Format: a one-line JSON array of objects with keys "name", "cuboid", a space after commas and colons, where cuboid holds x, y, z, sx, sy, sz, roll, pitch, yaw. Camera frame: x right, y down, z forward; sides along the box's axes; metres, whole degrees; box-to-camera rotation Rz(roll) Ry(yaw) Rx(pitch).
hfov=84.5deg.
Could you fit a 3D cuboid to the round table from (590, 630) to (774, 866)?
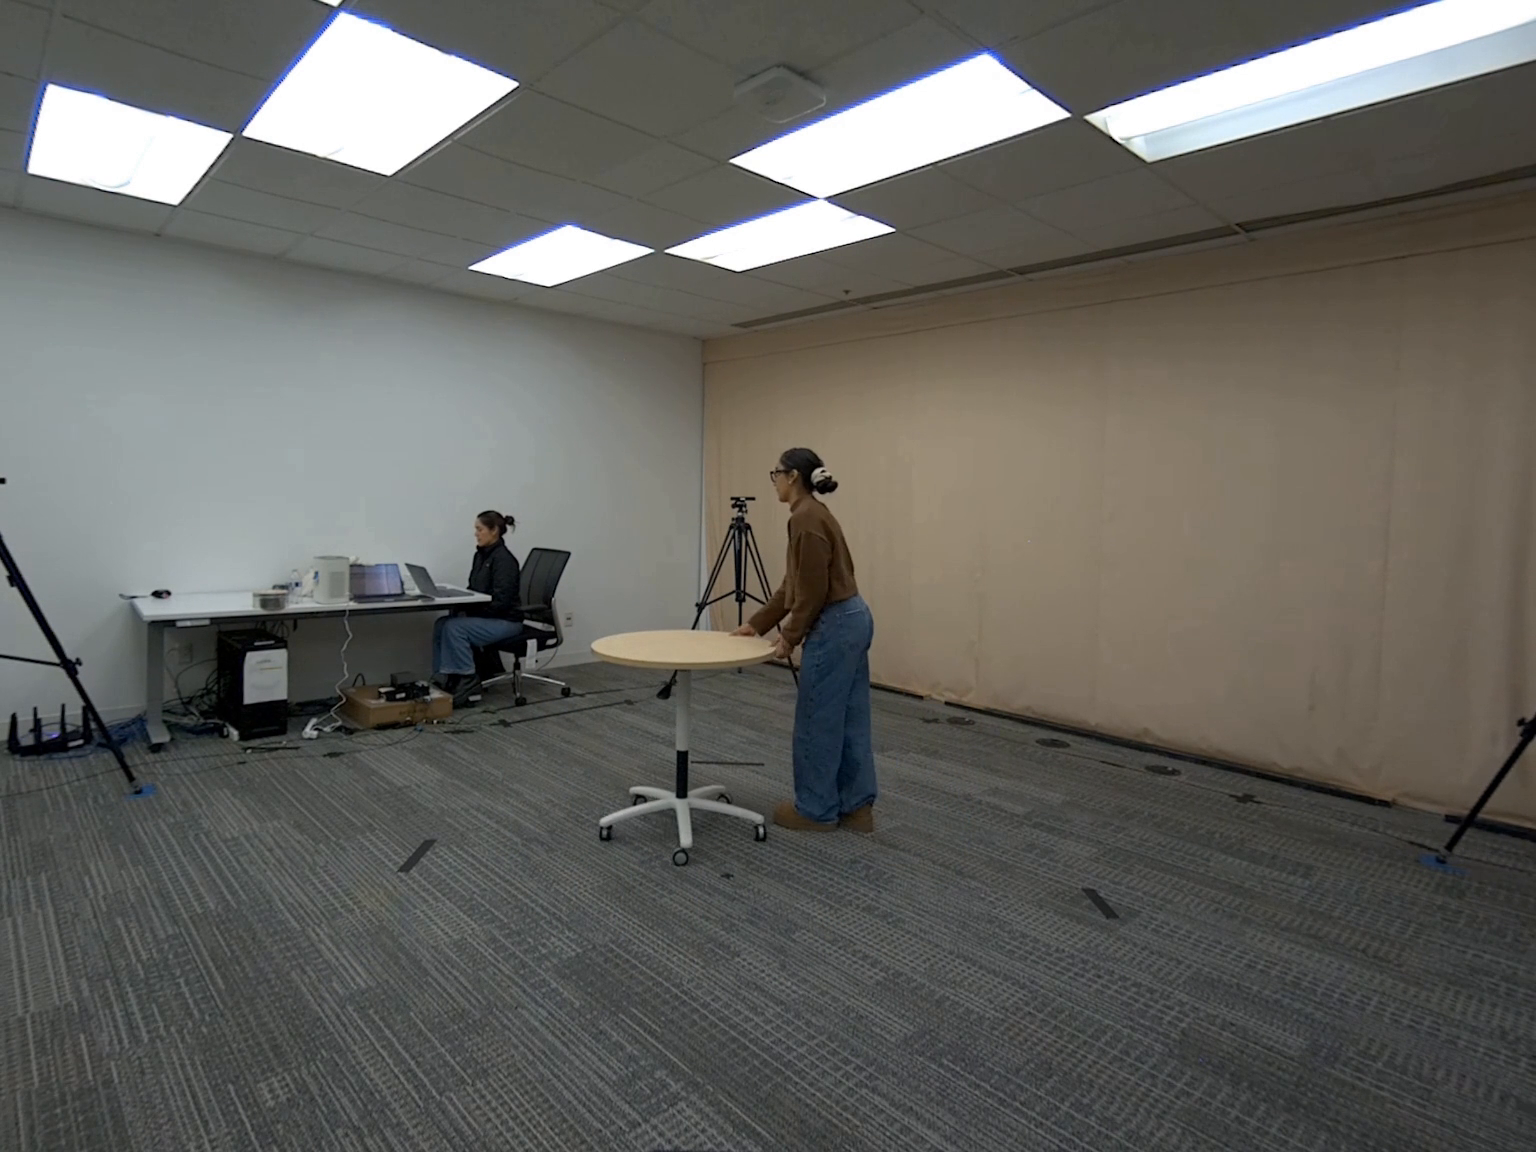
[{"name": "round table", "cuboid": [-0.361, 0.675, 3.488, 0.784, 0.785, 0.787, 1, 3, -1]}]
